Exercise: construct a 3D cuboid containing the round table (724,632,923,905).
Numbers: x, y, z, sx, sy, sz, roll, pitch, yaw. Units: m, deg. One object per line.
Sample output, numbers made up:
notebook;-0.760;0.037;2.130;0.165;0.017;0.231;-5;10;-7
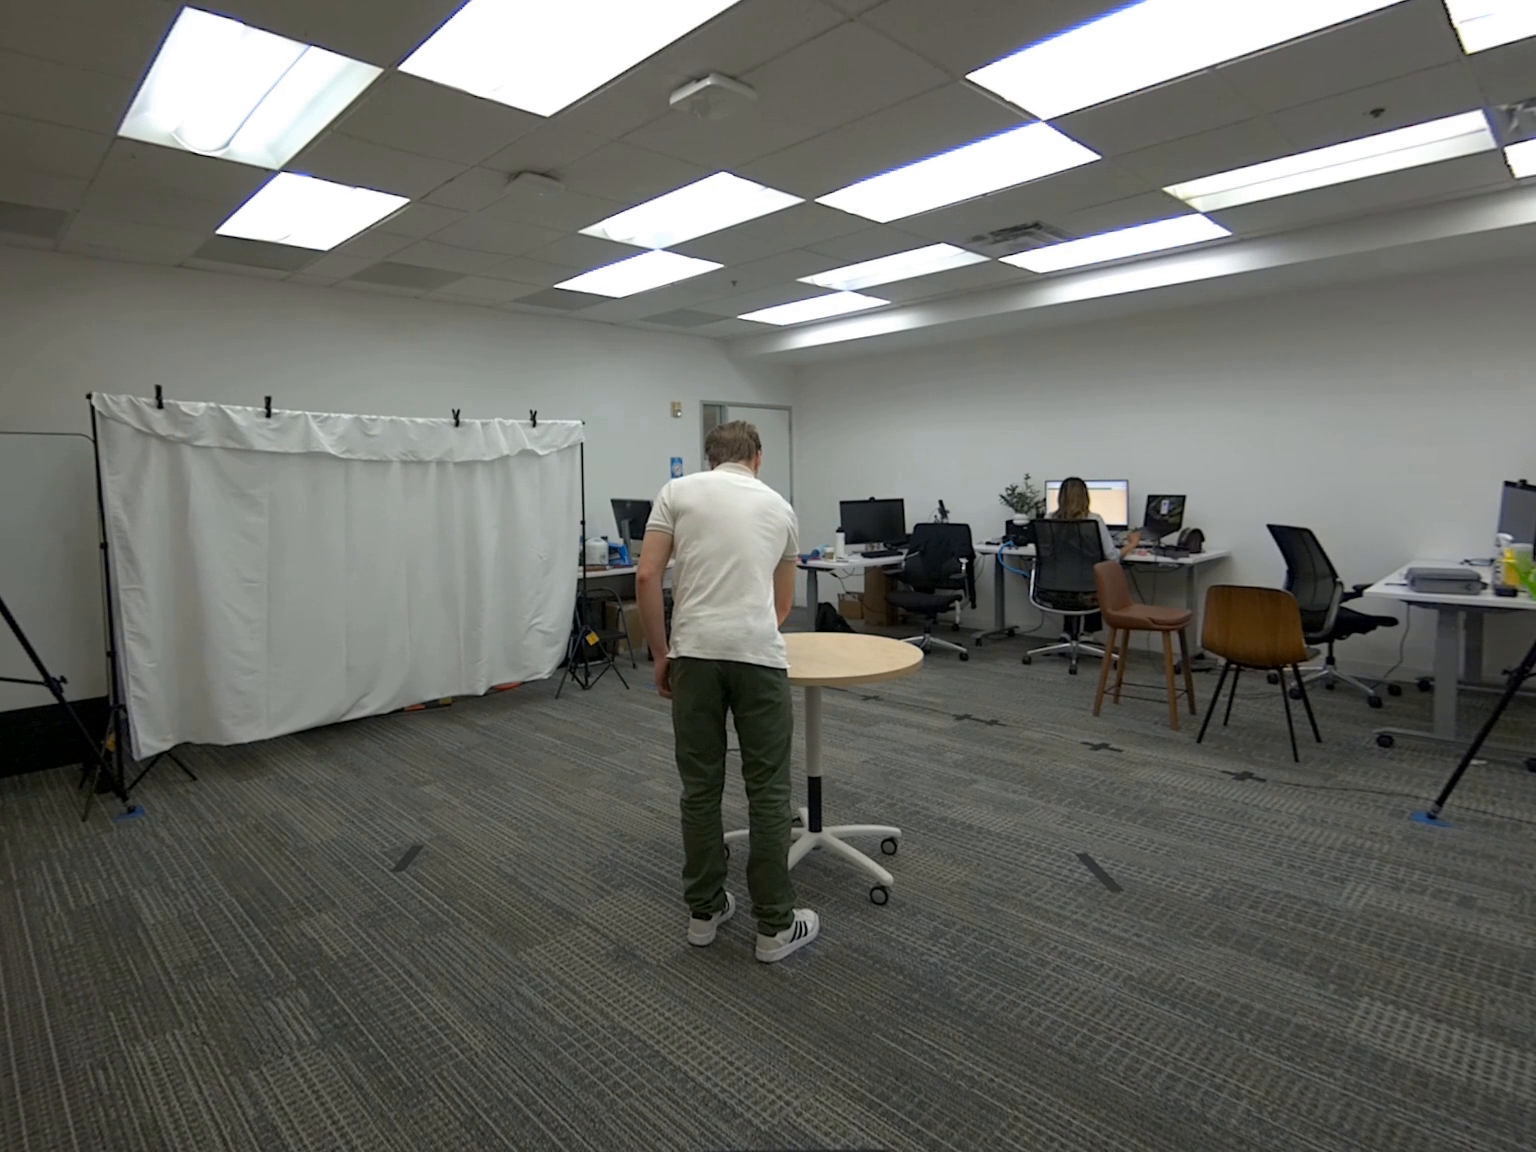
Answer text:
round table;0.183;0.656;3.046;0.784;0.783;0.789;-2;5;-2
